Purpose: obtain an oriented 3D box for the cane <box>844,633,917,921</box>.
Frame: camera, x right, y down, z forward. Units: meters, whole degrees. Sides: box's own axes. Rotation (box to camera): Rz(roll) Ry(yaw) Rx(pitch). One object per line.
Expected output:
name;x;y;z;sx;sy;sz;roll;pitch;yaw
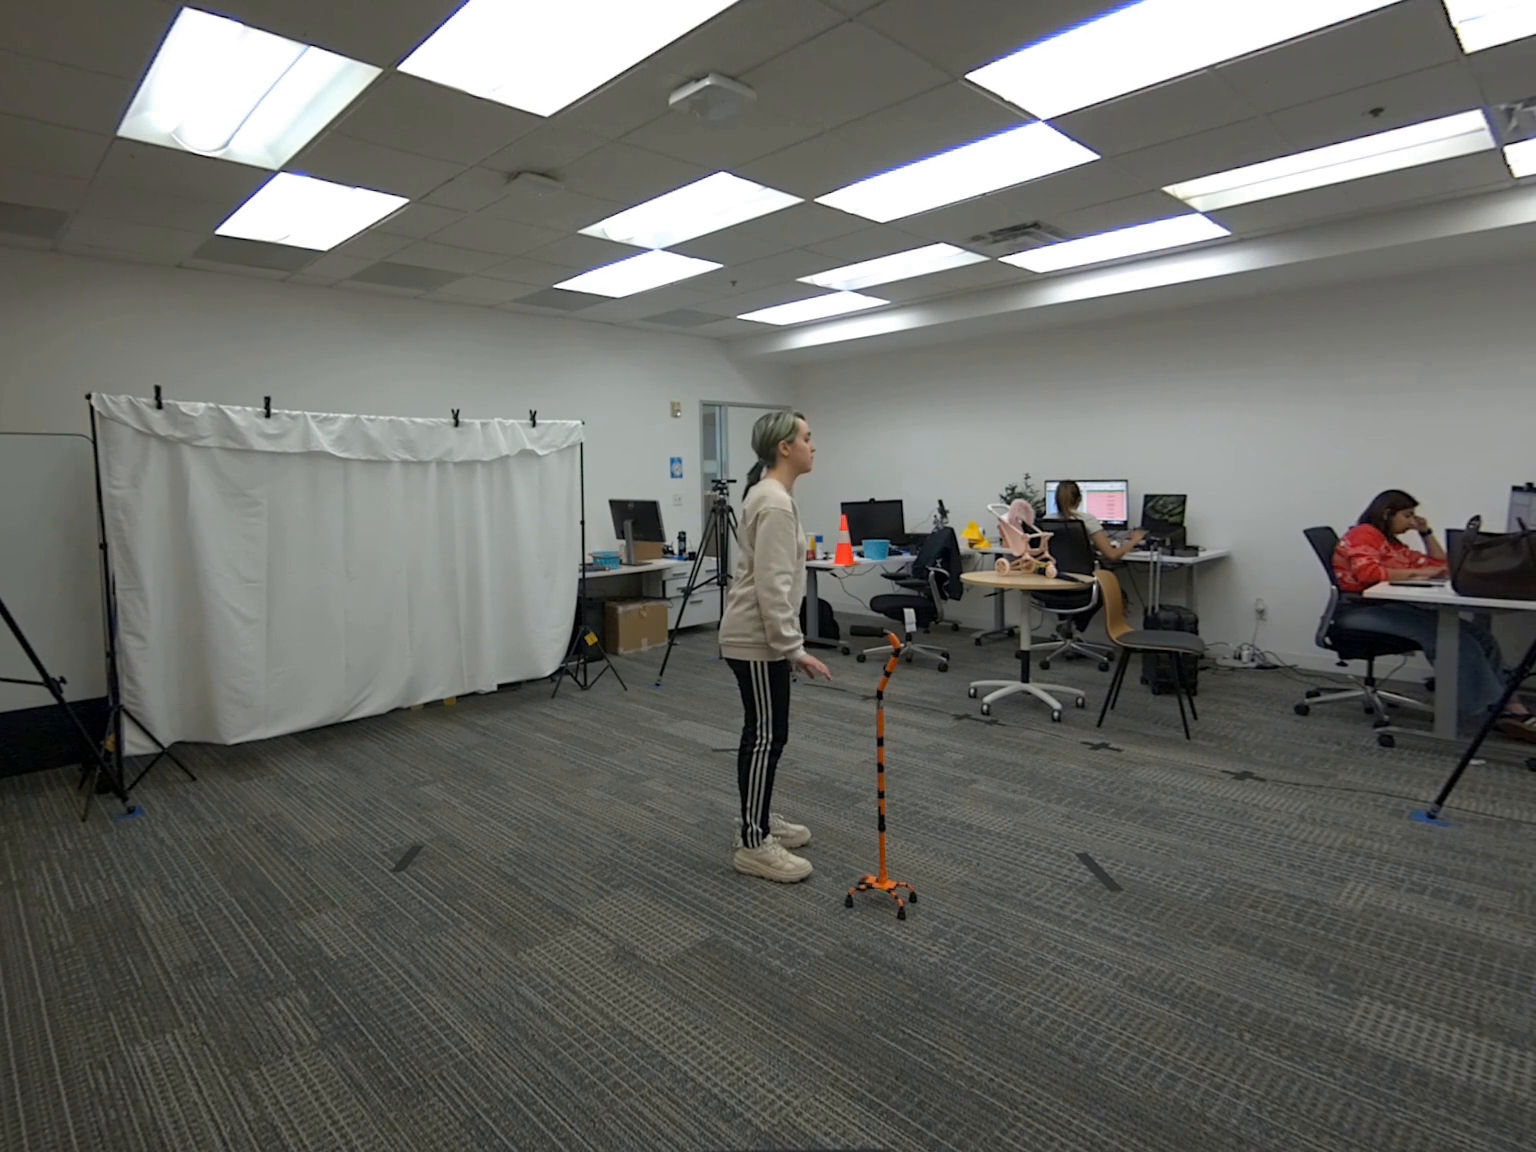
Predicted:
cane;0.370;0.621;2.774;0.211;0.905;0.148;2;4;27
